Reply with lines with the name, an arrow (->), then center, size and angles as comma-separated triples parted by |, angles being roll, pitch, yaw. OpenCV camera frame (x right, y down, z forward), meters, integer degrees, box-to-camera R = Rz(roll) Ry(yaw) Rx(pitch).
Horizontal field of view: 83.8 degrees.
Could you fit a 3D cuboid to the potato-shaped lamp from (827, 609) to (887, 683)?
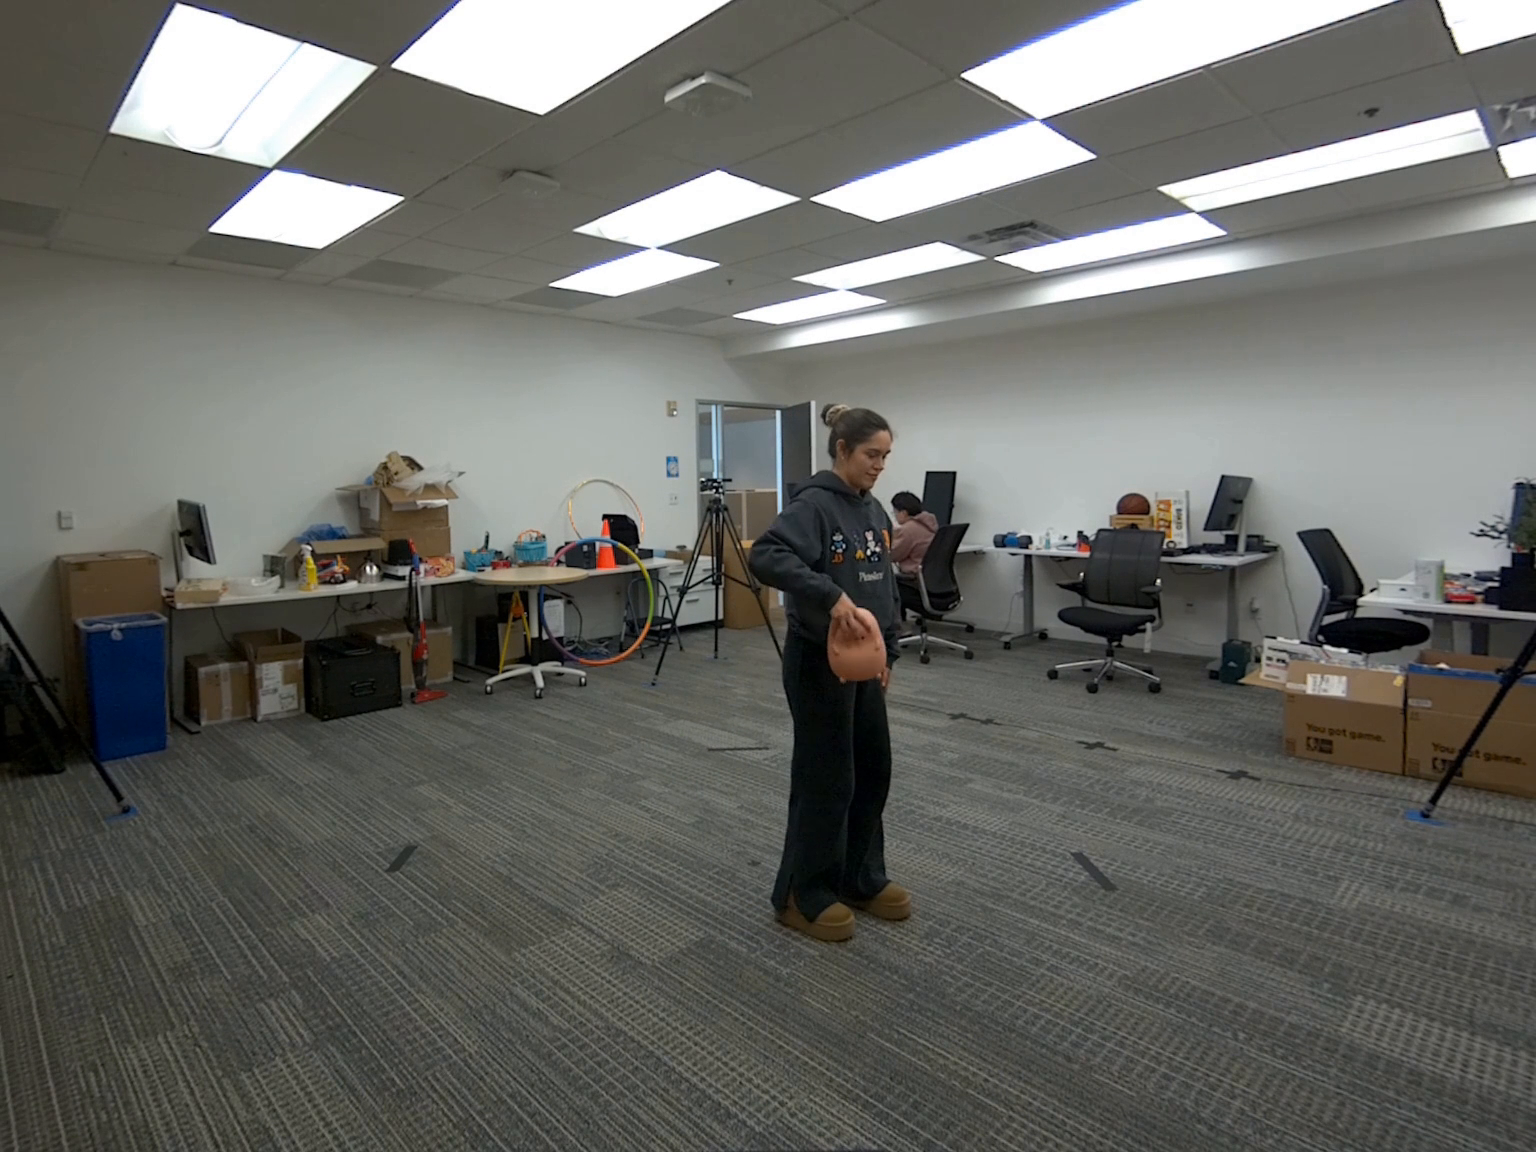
potato-shaped lamp -> 0.246, 0.186, 2.434 | 0.166, 0.195, 0.173 | -5, 17, 10
